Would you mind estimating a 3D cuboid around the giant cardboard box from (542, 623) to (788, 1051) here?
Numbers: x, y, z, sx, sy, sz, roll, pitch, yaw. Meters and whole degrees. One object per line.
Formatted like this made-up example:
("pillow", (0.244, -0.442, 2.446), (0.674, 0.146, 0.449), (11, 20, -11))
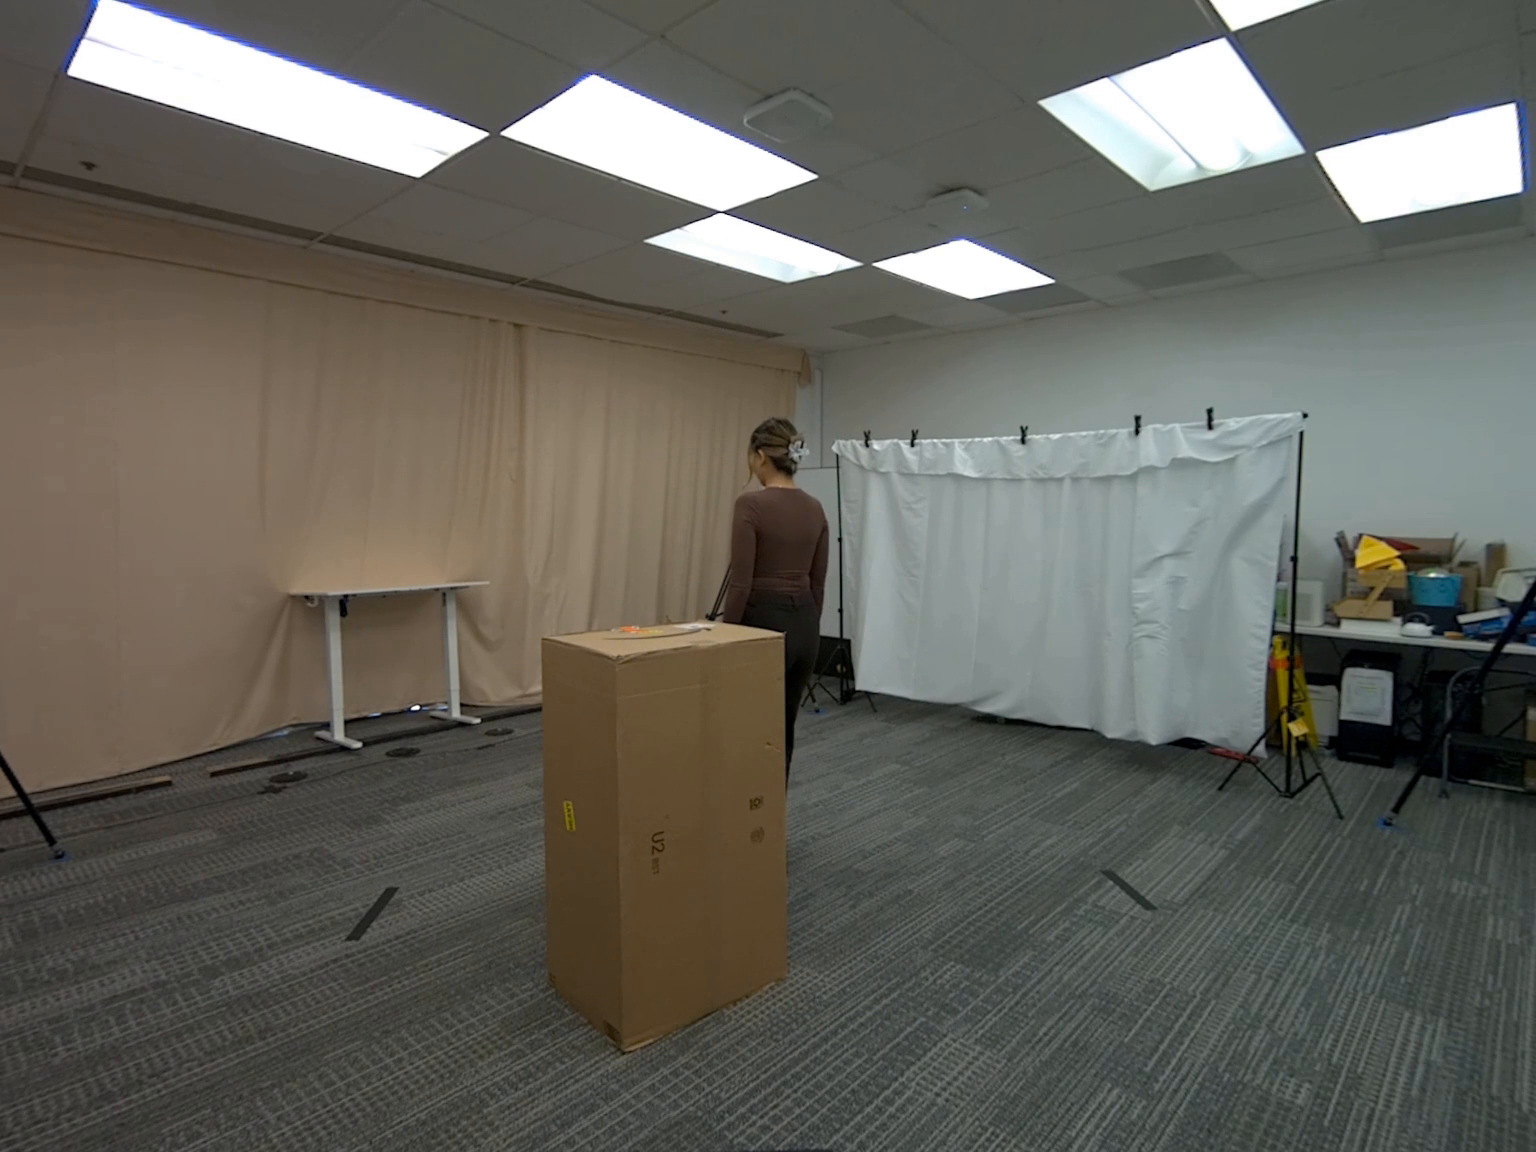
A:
("giant cardboard box", (-0.299, 0.681, 2.453), (0.566, 1.025, 0.461), (-2, 3, -38))
